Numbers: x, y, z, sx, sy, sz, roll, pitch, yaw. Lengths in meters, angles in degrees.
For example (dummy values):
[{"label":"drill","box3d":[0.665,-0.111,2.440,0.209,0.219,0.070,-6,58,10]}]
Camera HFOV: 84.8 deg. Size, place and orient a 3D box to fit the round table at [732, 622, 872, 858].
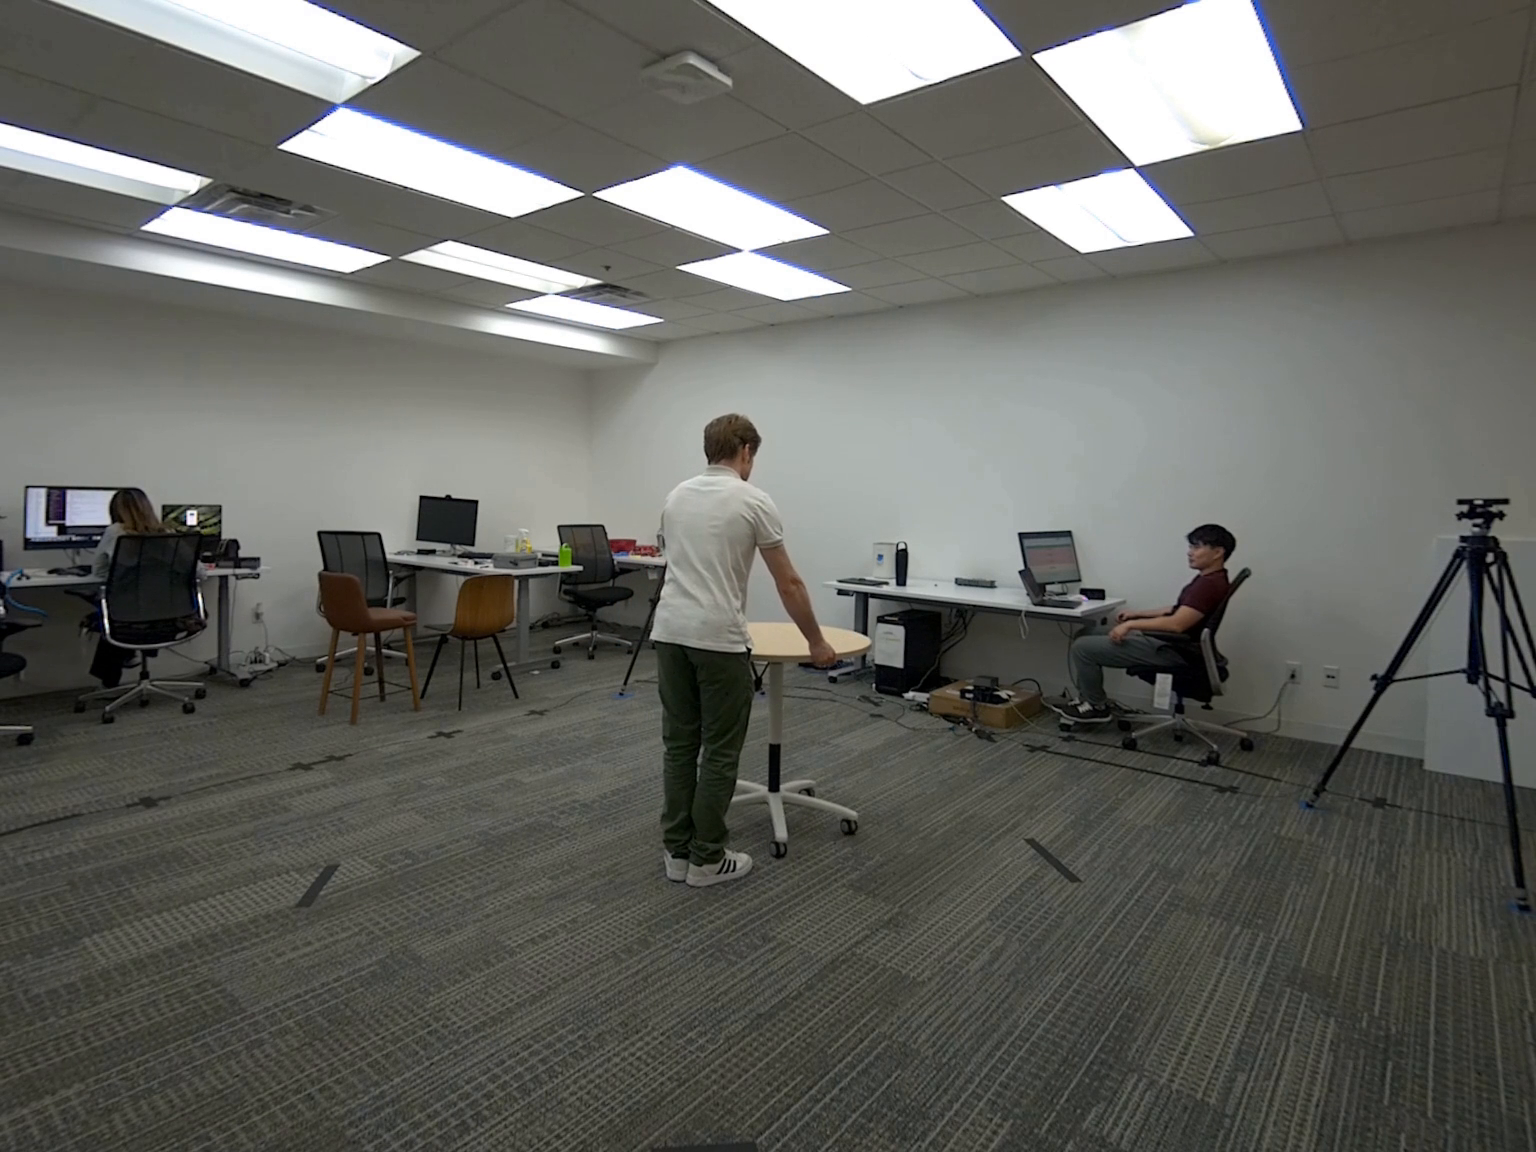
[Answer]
[{"label":"round table","box3d":[0.023,0.643,3.527,0.763,0.791,0.768,1,4,-2]}]
